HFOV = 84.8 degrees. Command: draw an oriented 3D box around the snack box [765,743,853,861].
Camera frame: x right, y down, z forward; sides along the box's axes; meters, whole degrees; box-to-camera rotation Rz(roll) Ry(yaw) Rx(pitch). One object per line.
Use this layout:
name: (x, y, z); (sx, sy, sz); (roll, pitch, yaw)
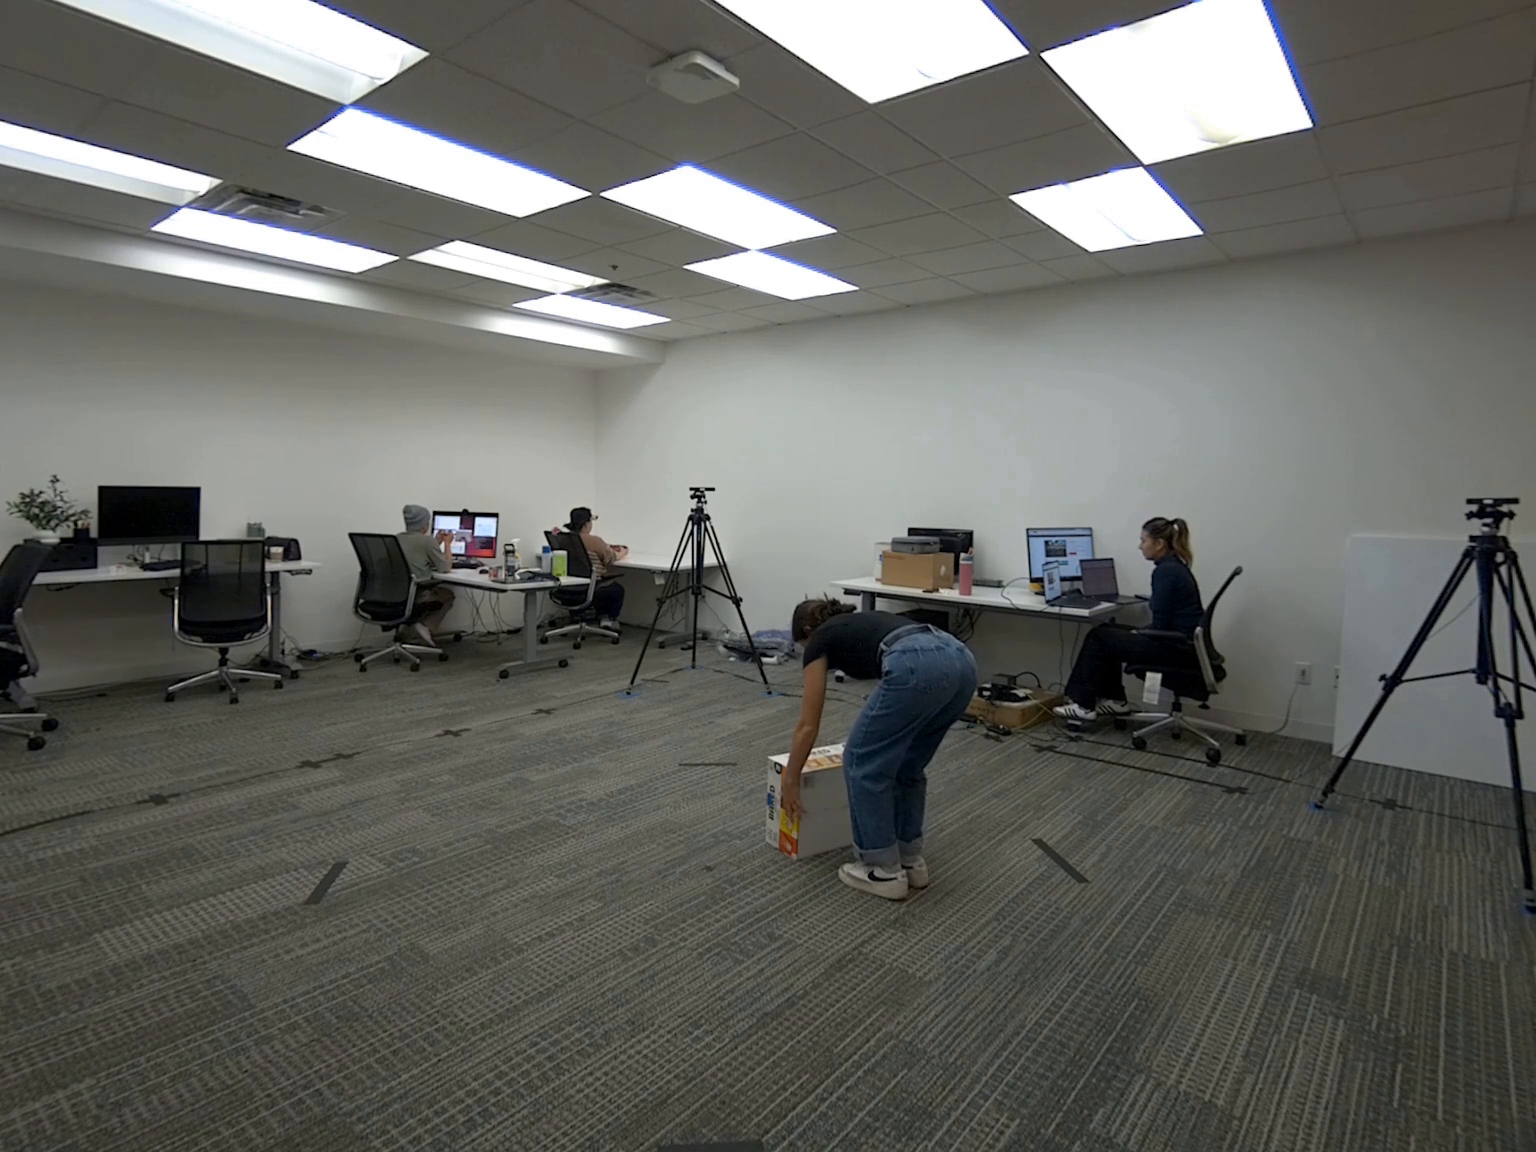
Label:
snack box: (0.205, 0.882, 3.372); (0.393, 0.339, 0.212); (-2, 6, -34)
